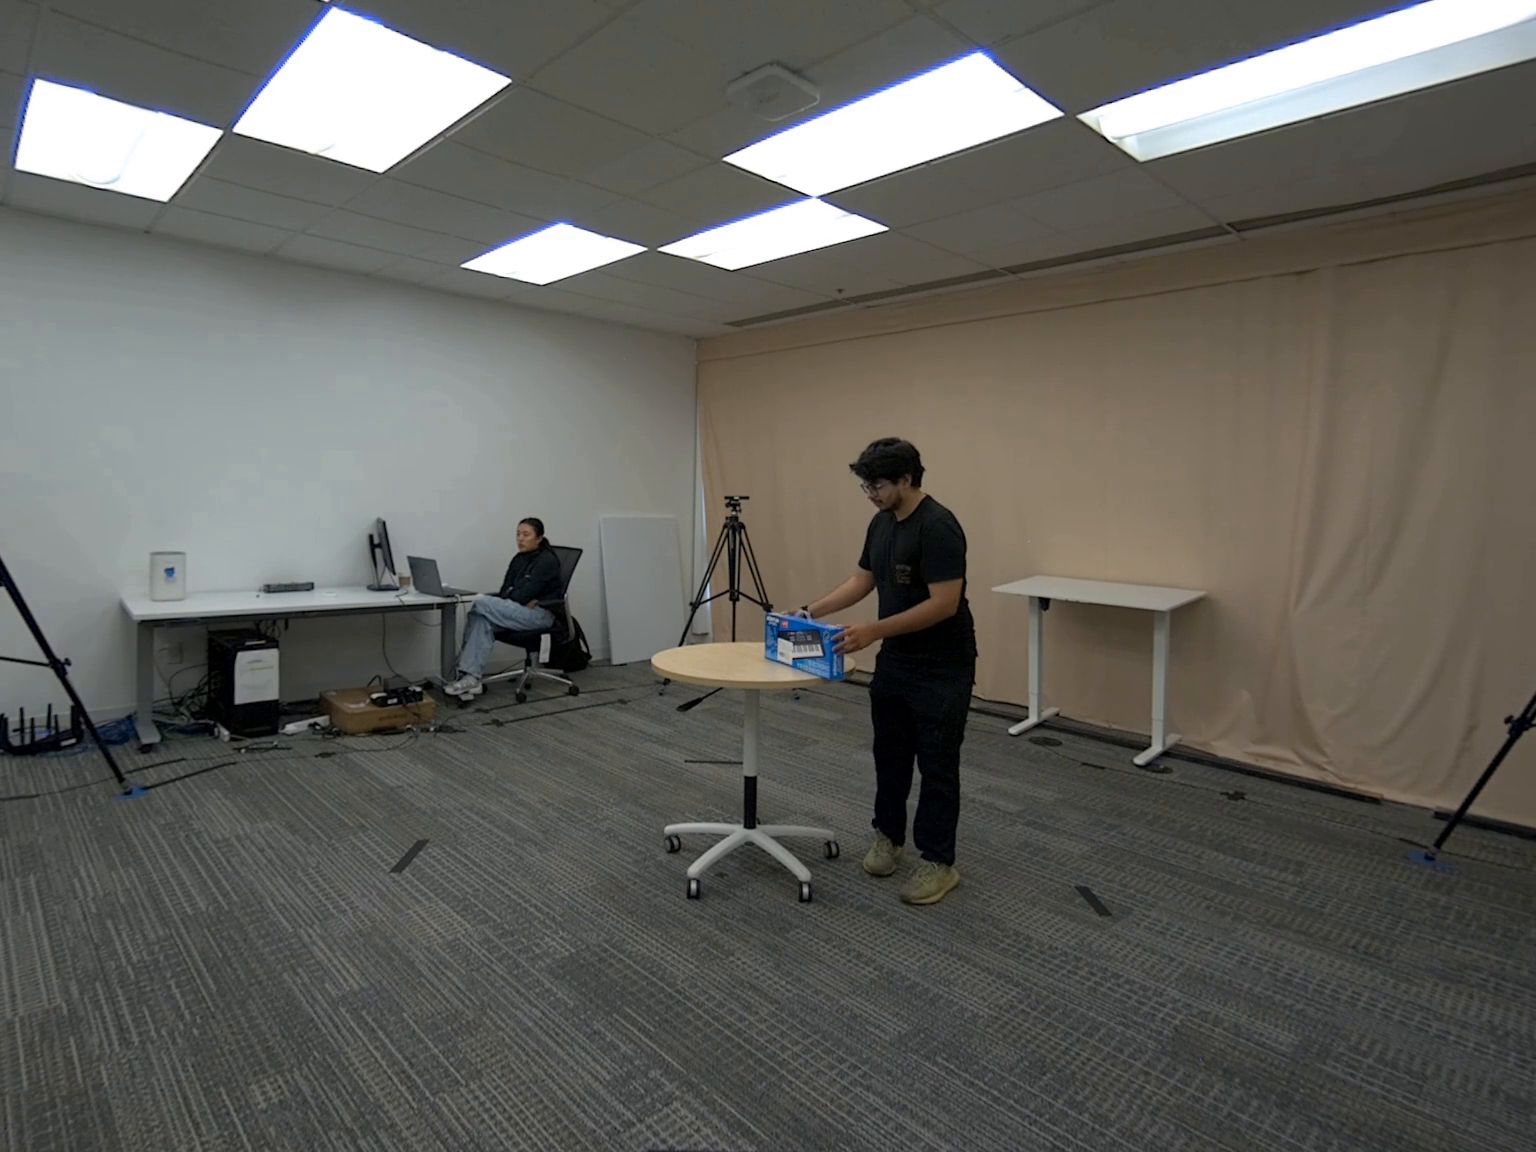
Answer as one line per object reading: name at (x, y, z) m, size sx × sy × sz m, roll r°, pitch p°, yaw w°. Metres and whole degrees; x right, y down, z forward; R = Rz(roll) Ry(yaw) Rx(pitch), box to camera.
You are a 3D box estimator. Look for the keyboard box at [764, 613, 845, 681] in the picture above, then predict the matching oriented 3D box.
keyboard box at (0.114, 0.246, 3.020) m, size 0.058 × 0.175 × 0.446 m, roll 2°, pitch 3°, yaw -28°
